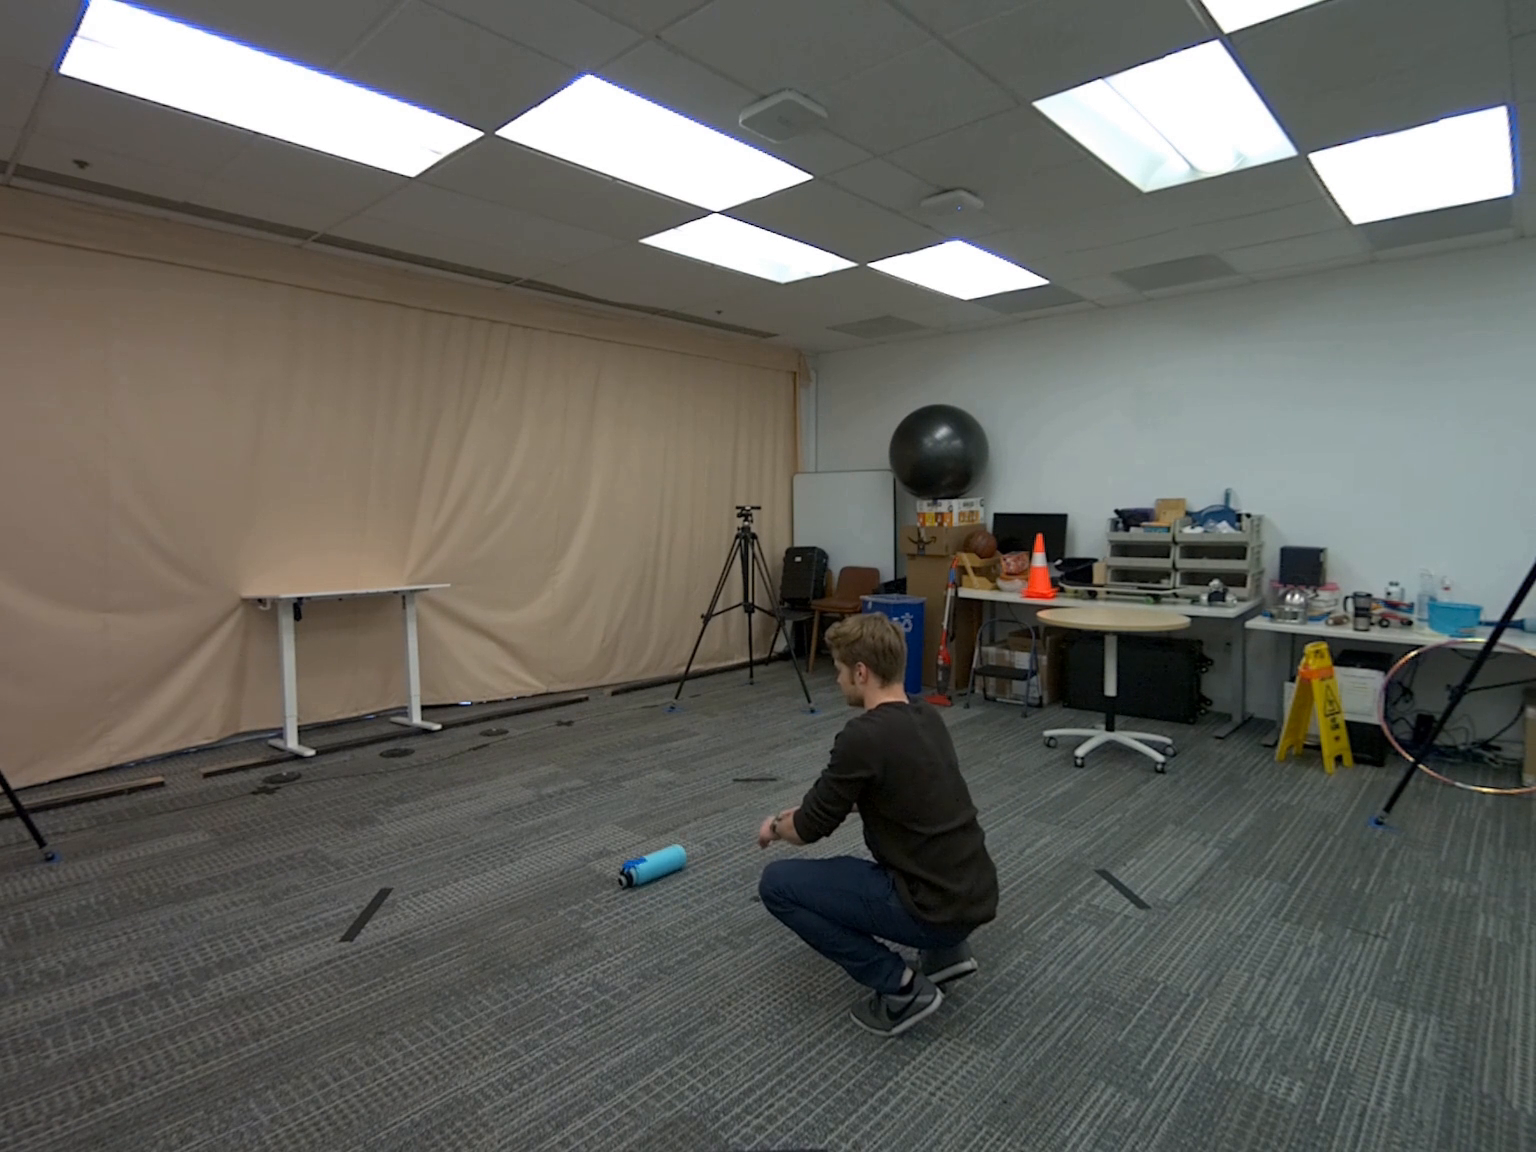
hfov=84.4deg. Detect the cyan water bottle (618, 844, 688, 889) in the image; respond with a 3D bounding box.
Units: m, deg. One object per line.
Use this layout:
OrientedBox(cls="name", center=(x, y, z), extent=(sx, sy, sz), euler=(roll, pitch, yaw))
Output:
OrientedBox(cls="cyan water bottle", center=(-0.438, 1.085, 3.162), extent=(0.274, 0.092, 0.095), euler=(-3, 5, -43))
